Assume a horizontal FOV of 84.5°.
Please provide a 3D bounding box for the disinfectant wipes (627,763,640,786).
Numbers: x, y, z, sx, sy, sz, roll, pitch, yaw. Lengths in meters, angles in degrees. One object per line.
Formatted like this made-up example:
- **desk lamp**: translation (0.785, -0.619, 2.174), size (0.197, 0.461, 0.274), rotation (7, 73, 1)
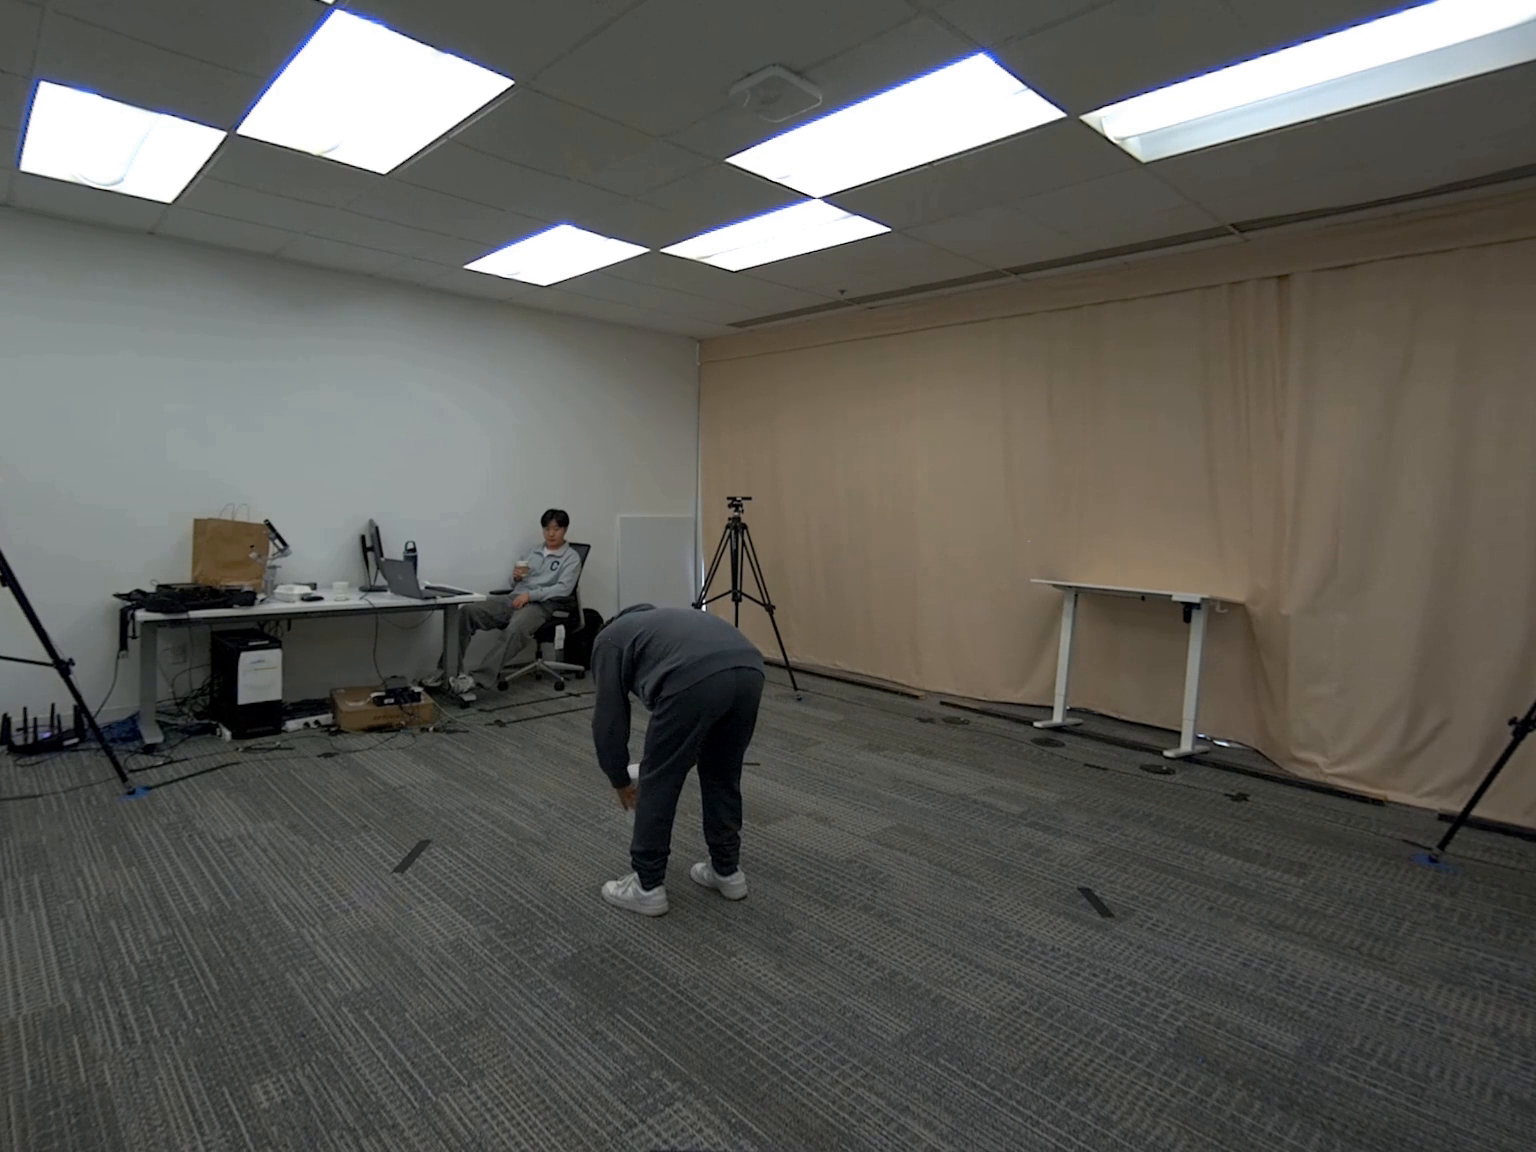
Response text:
- **disinfectant wipes**: translation (-0.491, 0.833, 3.159), size (0.118, 0.215, 0.119), rotation (-3, 13, -1)
